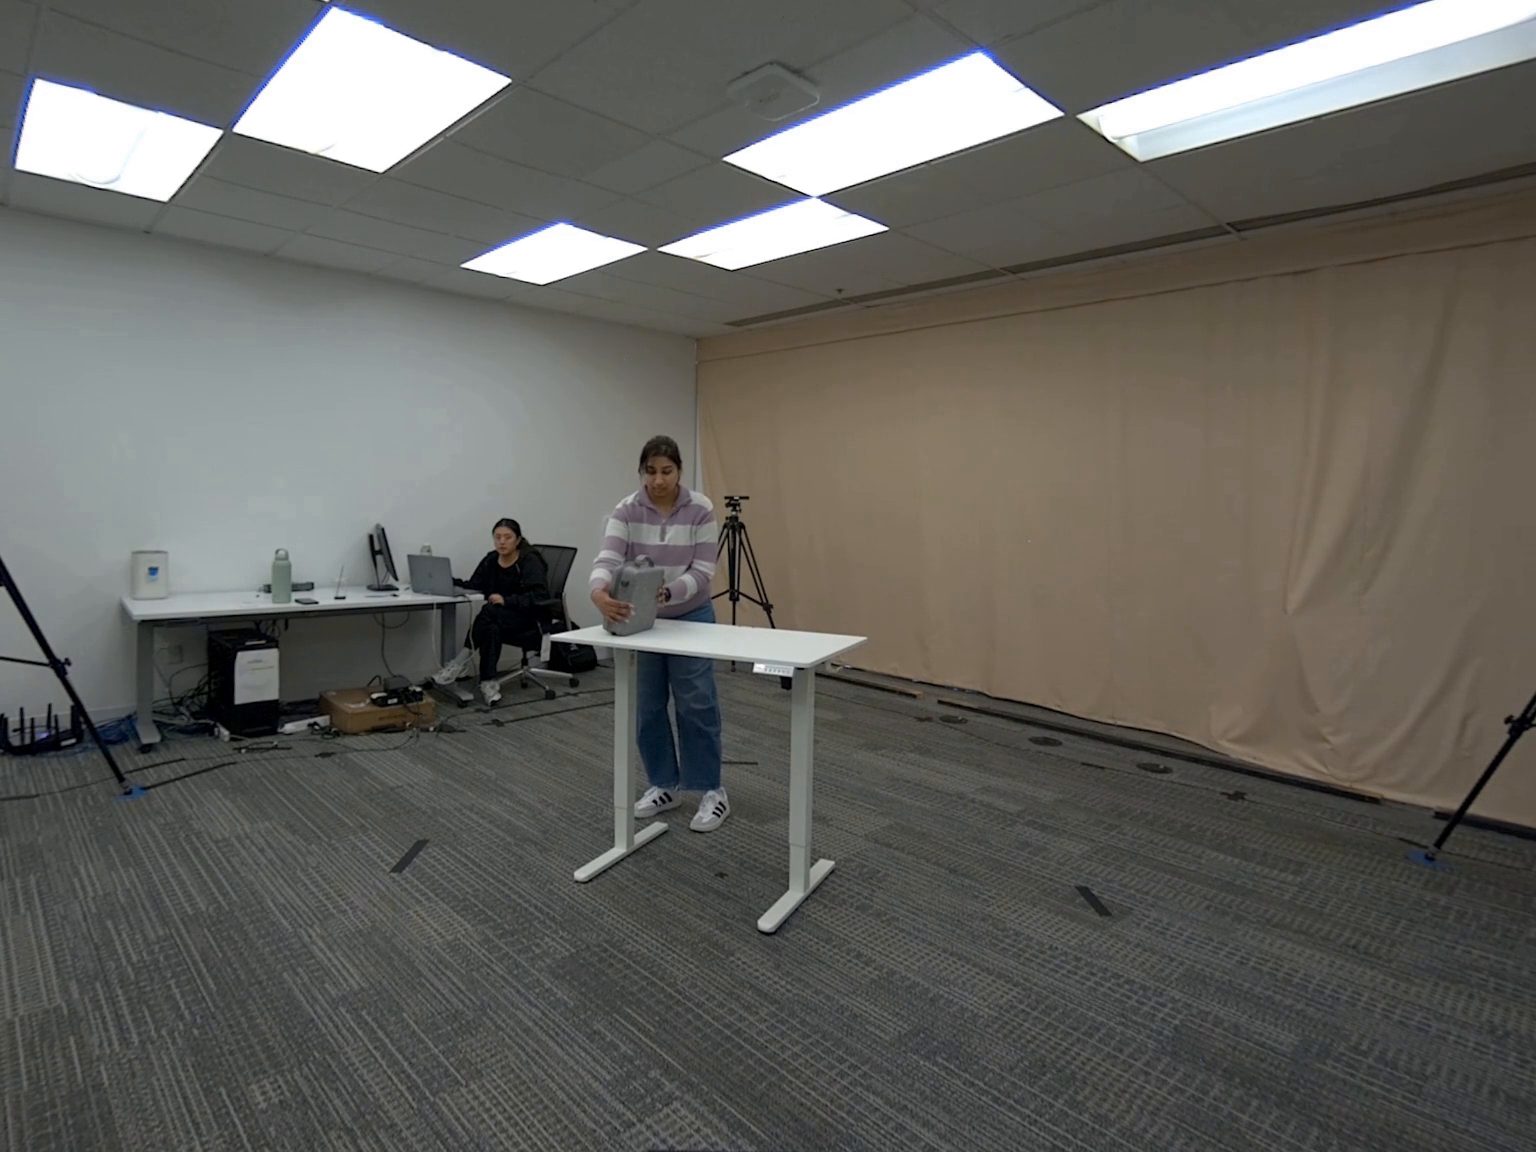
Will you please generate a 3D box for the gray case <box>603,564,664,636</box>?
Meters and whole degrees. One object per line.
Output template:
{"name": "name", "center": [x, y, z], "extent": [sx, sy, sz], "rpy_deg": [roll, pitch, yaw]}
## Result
{"name": "gray case", "center": [-0.509, 0.081, 3.142], "extent": [0.106, 0.259, 0.254], "rpy_deg": [12, 8, 14]}
